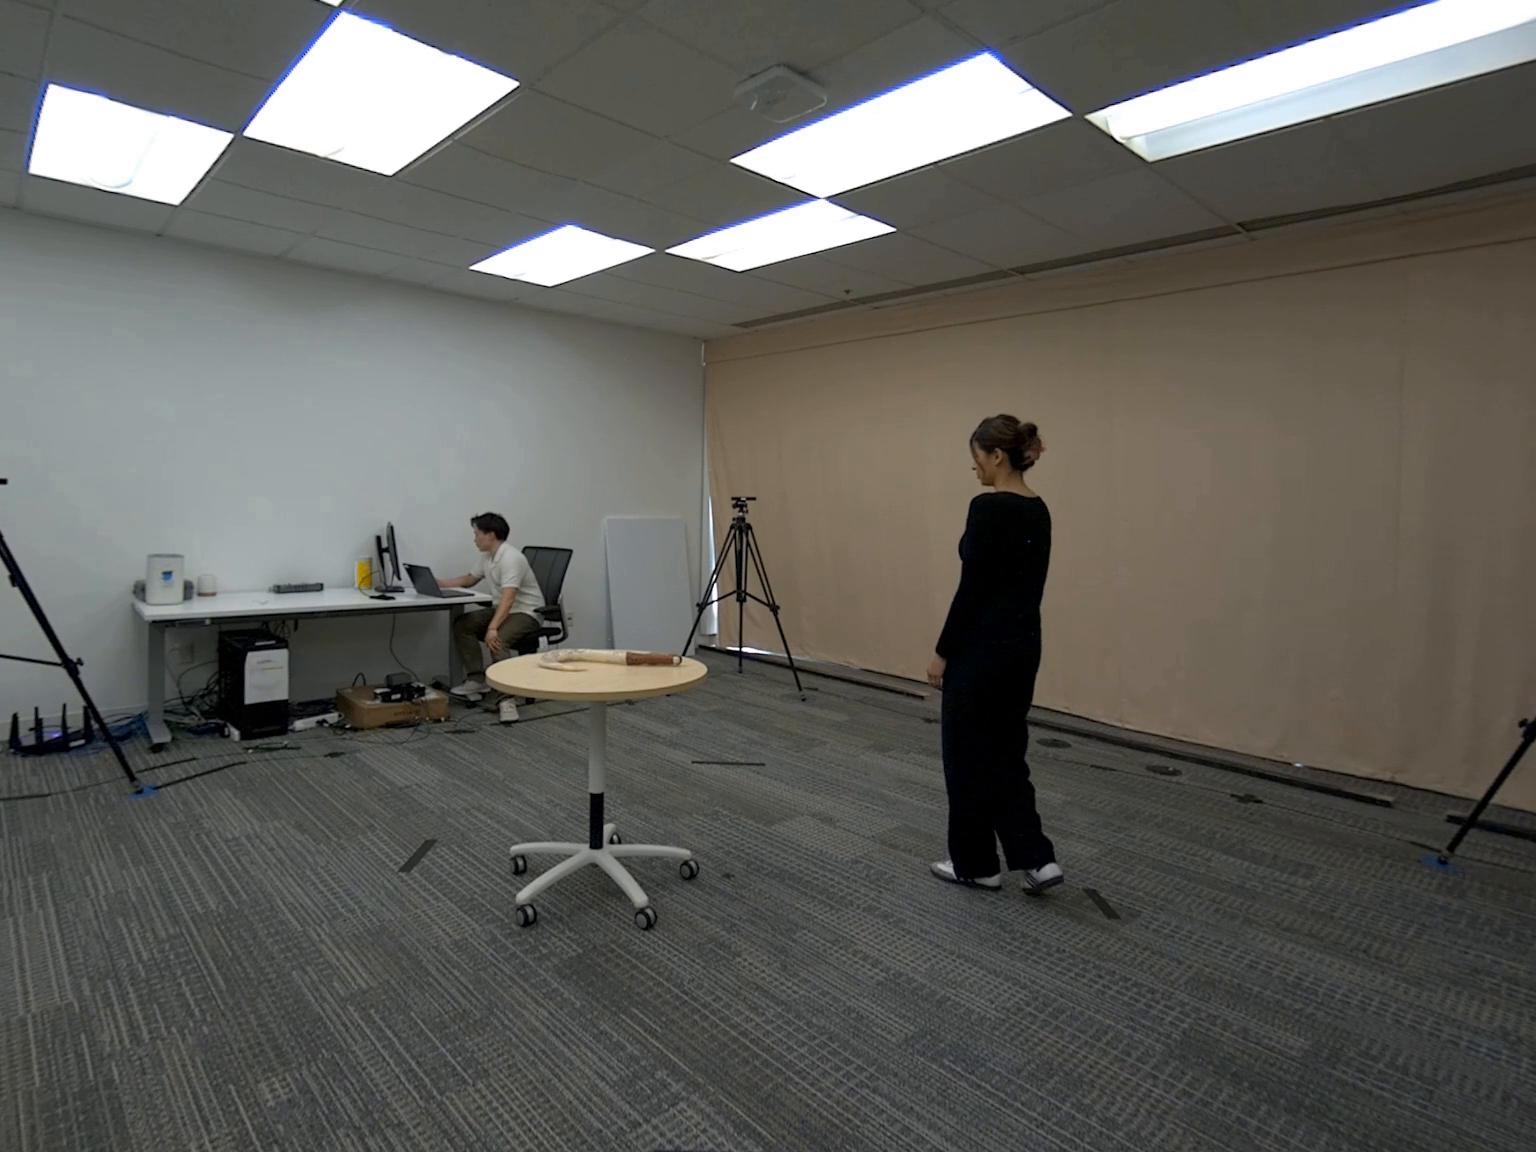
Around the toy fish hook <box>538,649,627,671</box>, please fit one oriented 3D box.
[{"bbox_3d":[-0.570,0.310,2.998,0.508,0.048,0.225,1,12,4],"label":"toy fish hook"}]
